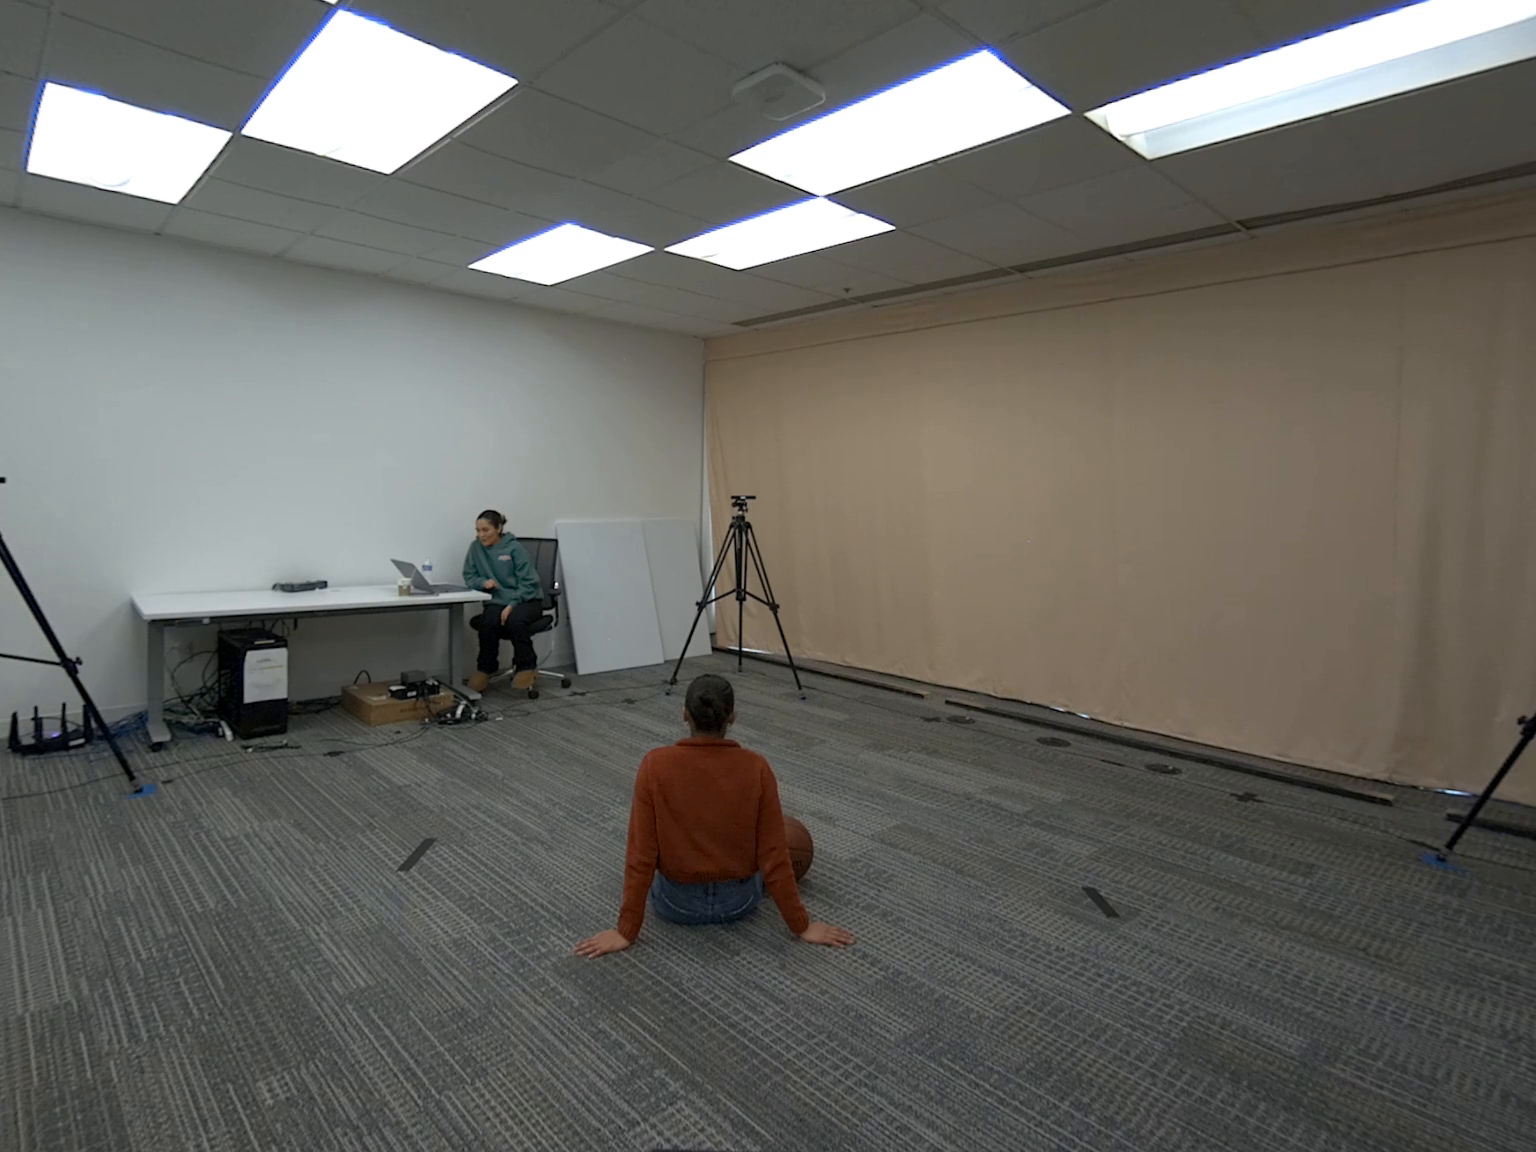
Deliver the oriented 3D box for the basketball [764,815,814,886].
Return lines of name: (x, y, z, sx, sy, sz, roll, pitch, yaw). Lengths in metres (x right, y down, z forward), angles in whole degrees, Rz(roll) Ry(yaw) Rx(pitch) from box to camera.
basketball: (0.046, 0.992, 3.052, 0.236, 0.235, 0.237, 1, 4, -1)
